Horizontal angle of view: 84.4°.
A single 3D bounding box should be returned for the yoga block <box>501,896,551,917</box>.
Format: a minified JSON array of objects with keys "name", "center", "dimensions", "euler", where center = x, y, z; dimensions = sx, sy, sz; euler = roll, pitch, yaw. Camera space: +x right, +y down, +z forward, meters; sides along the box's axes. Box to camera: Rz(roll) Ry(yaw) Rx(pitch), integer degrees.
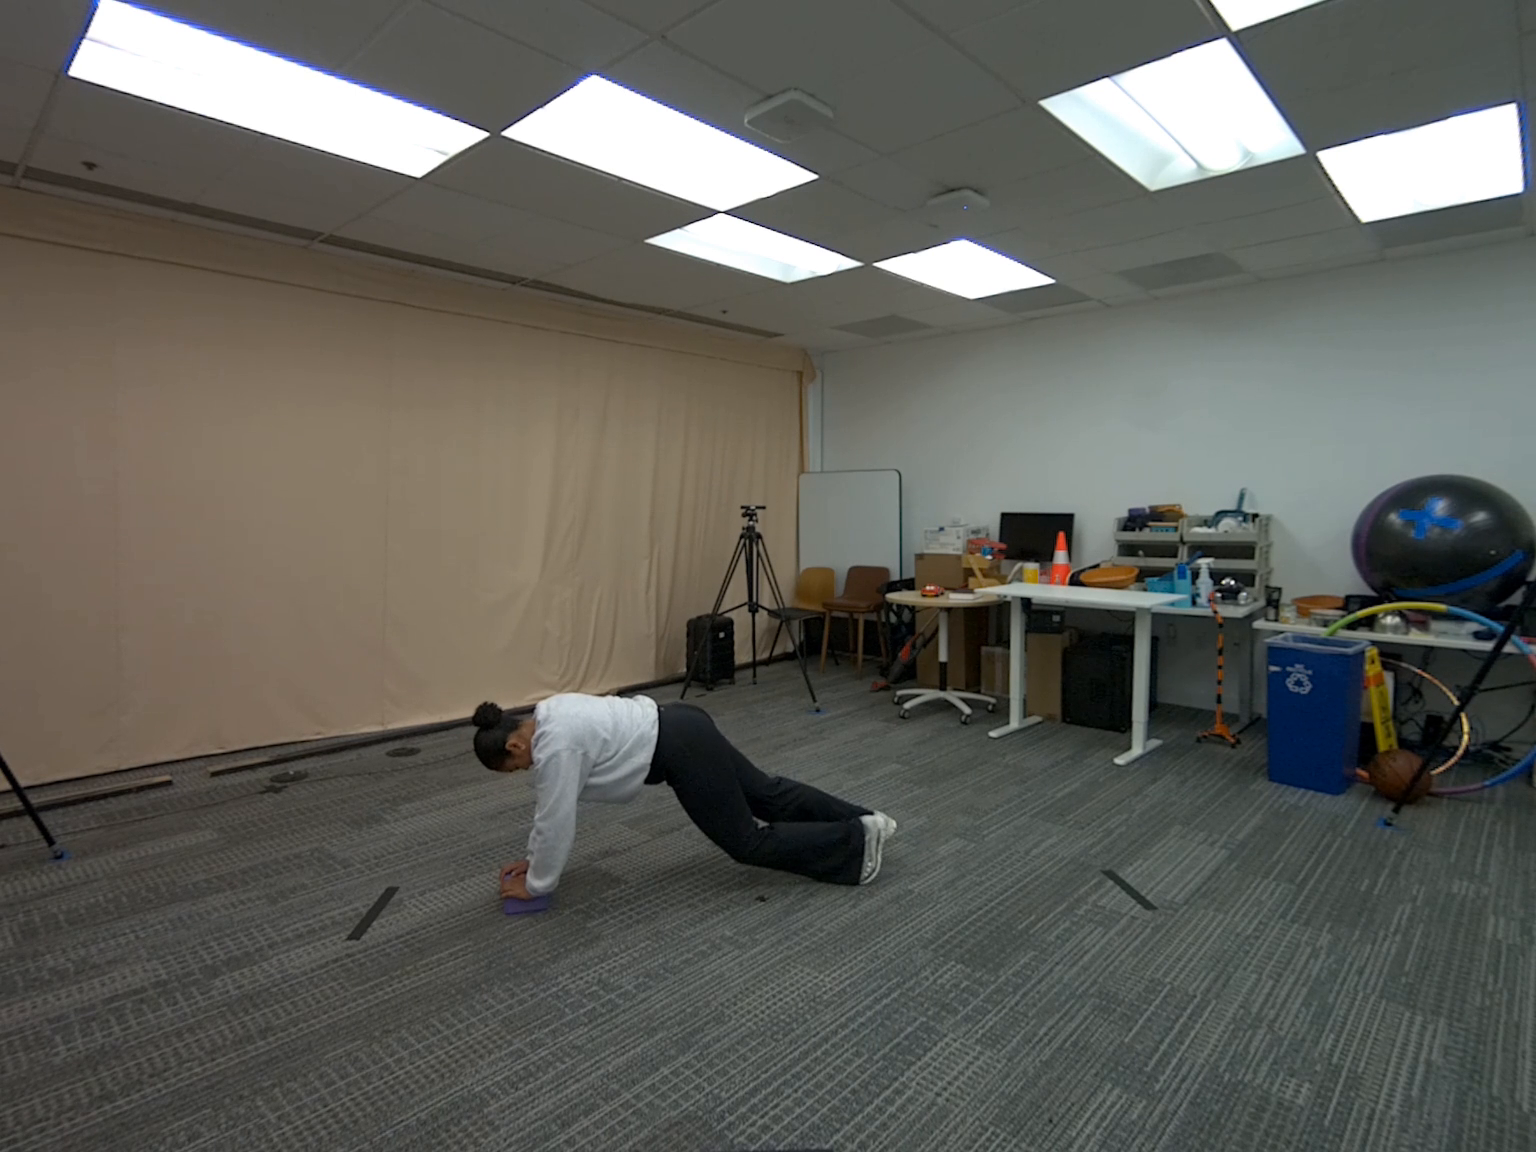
[{"name":"yoga block","center":[-0.869,1.123,2.999],"dimensions":[0.147,0.076,0.233],"euler":[-2,5,-16]}]
